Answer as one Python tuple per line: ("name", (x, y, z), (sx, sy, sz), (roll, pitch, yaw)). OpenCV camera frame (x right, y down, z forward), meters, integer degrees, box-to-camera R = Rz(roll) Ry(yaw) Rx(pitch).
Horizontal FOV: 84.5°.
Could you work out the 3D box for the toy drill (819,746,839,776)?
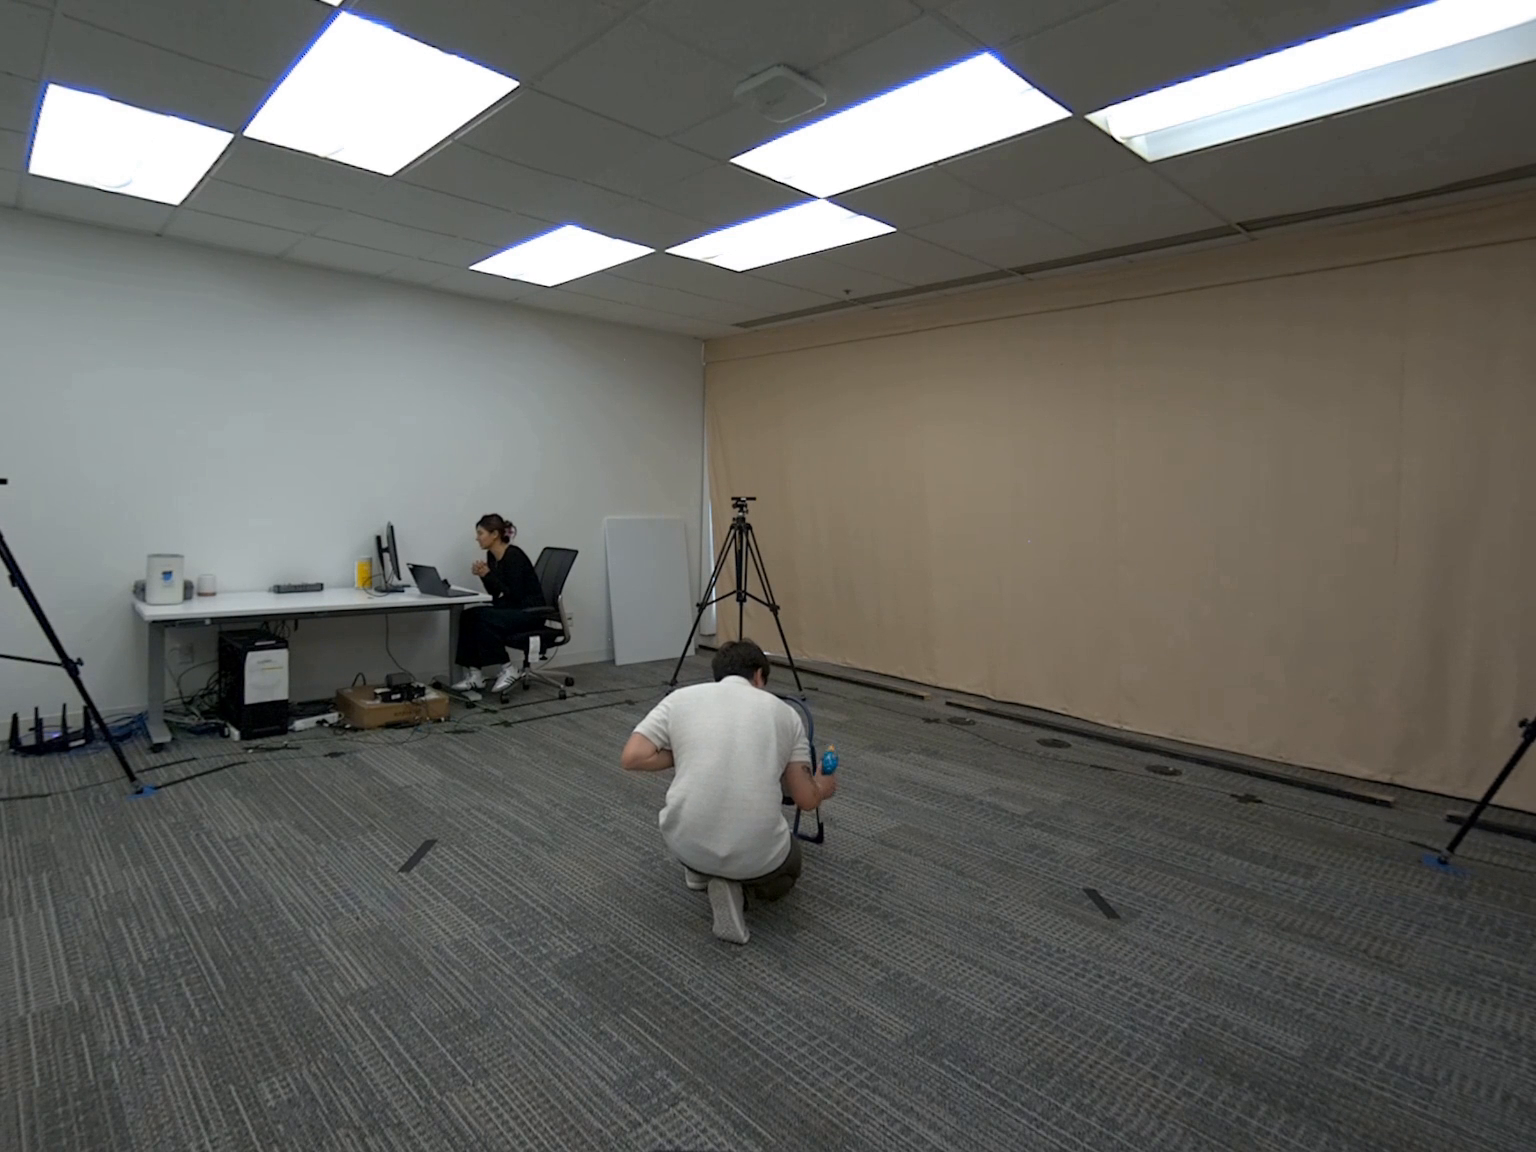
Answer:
("toy drill", (0.219, 0.725, 3.157), (0.061, 0.145, 0.171), (18, 19, 0))
